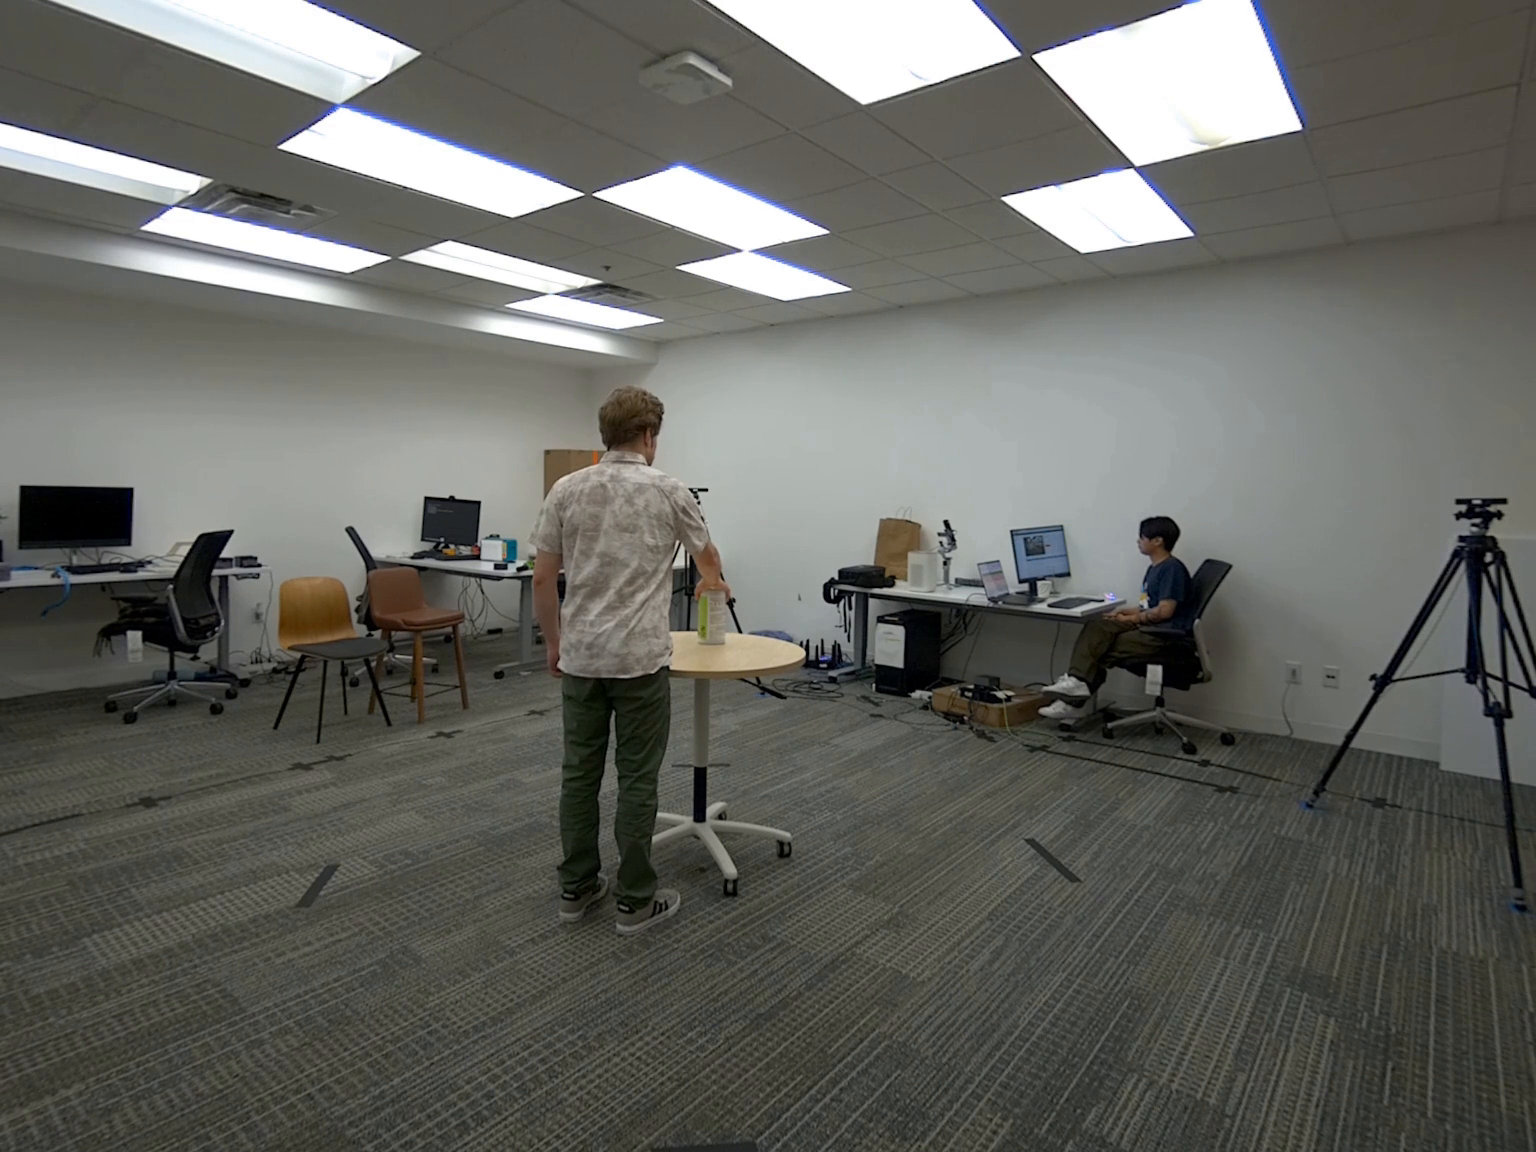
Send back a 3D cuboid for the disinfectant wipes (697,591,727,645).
[{"bbox_3d":[-0.224,0.151,3.303,0.118,0.217,0.118,1,4,-2],"label":"disinfectant wipes"}]
